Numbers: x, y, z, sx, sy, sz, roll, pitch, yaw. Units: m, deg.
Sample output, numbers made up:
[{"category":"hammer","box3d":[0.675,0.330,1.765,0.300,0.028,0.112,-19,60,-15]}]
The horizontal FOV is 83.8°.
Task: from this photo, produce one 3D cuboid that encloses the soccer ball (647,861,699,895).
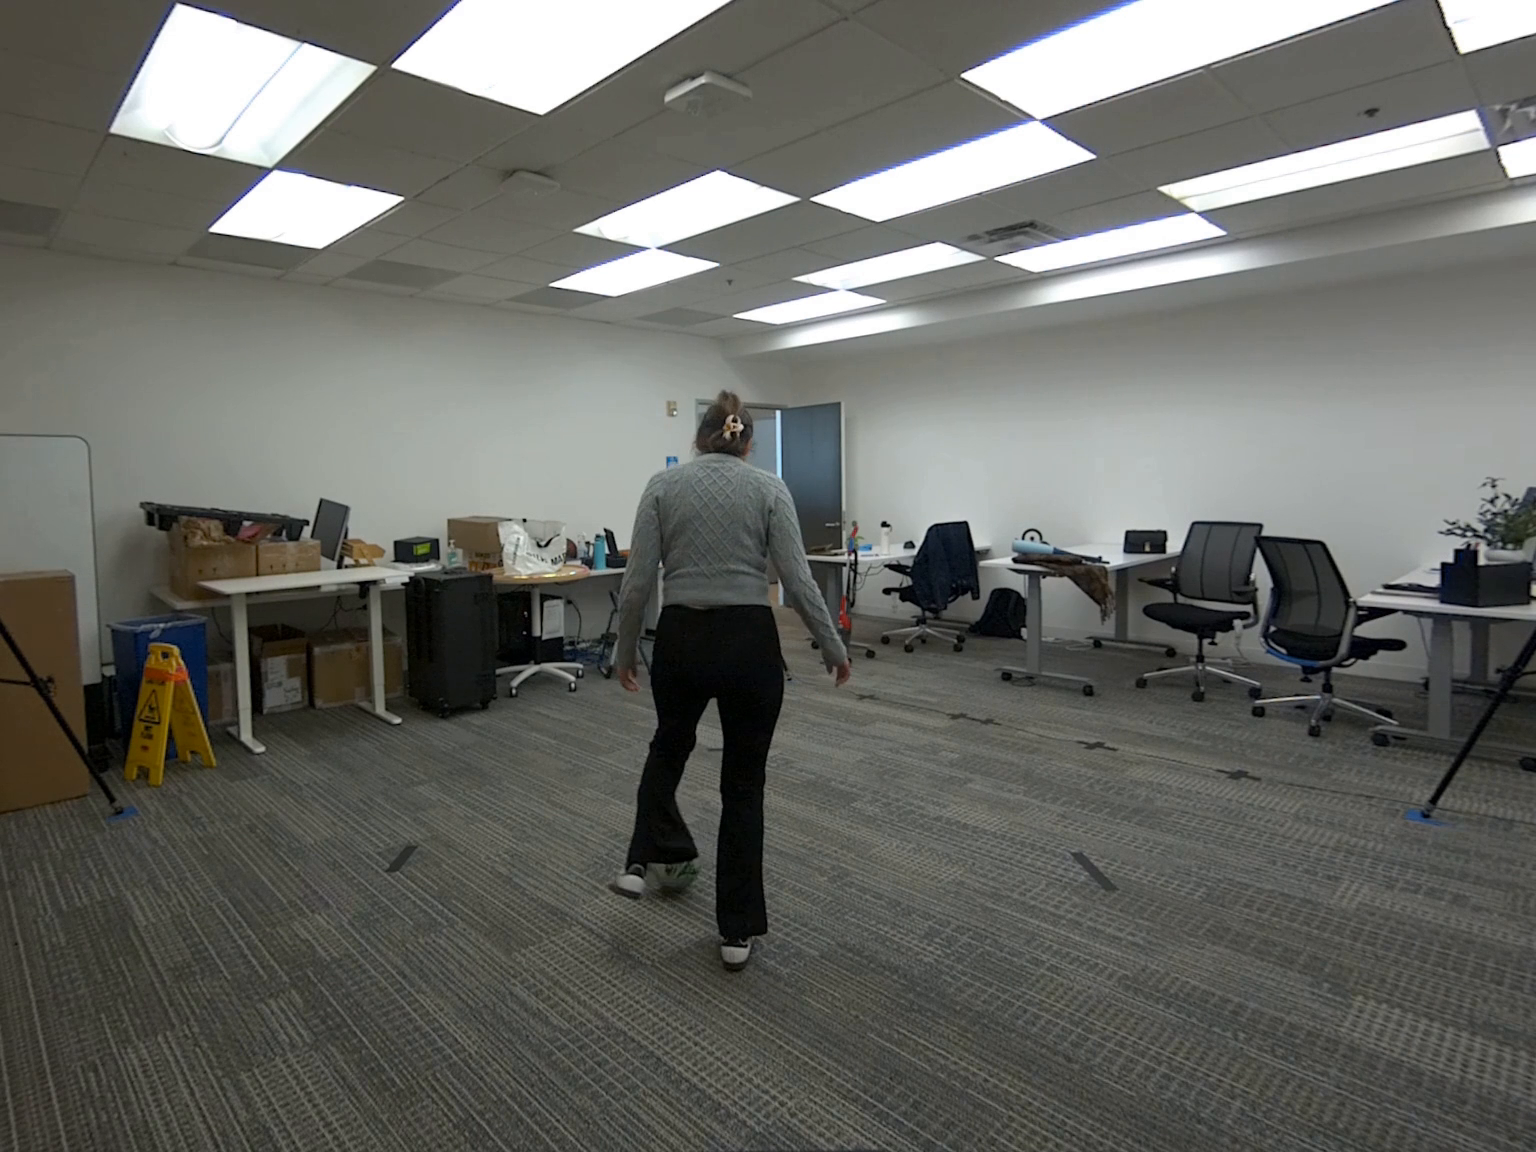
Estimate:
[{"category":"soccer ball","box3d":[-0.315,0.948,2.916,0.187,0.187,0.188,-1,5,-2]}]
